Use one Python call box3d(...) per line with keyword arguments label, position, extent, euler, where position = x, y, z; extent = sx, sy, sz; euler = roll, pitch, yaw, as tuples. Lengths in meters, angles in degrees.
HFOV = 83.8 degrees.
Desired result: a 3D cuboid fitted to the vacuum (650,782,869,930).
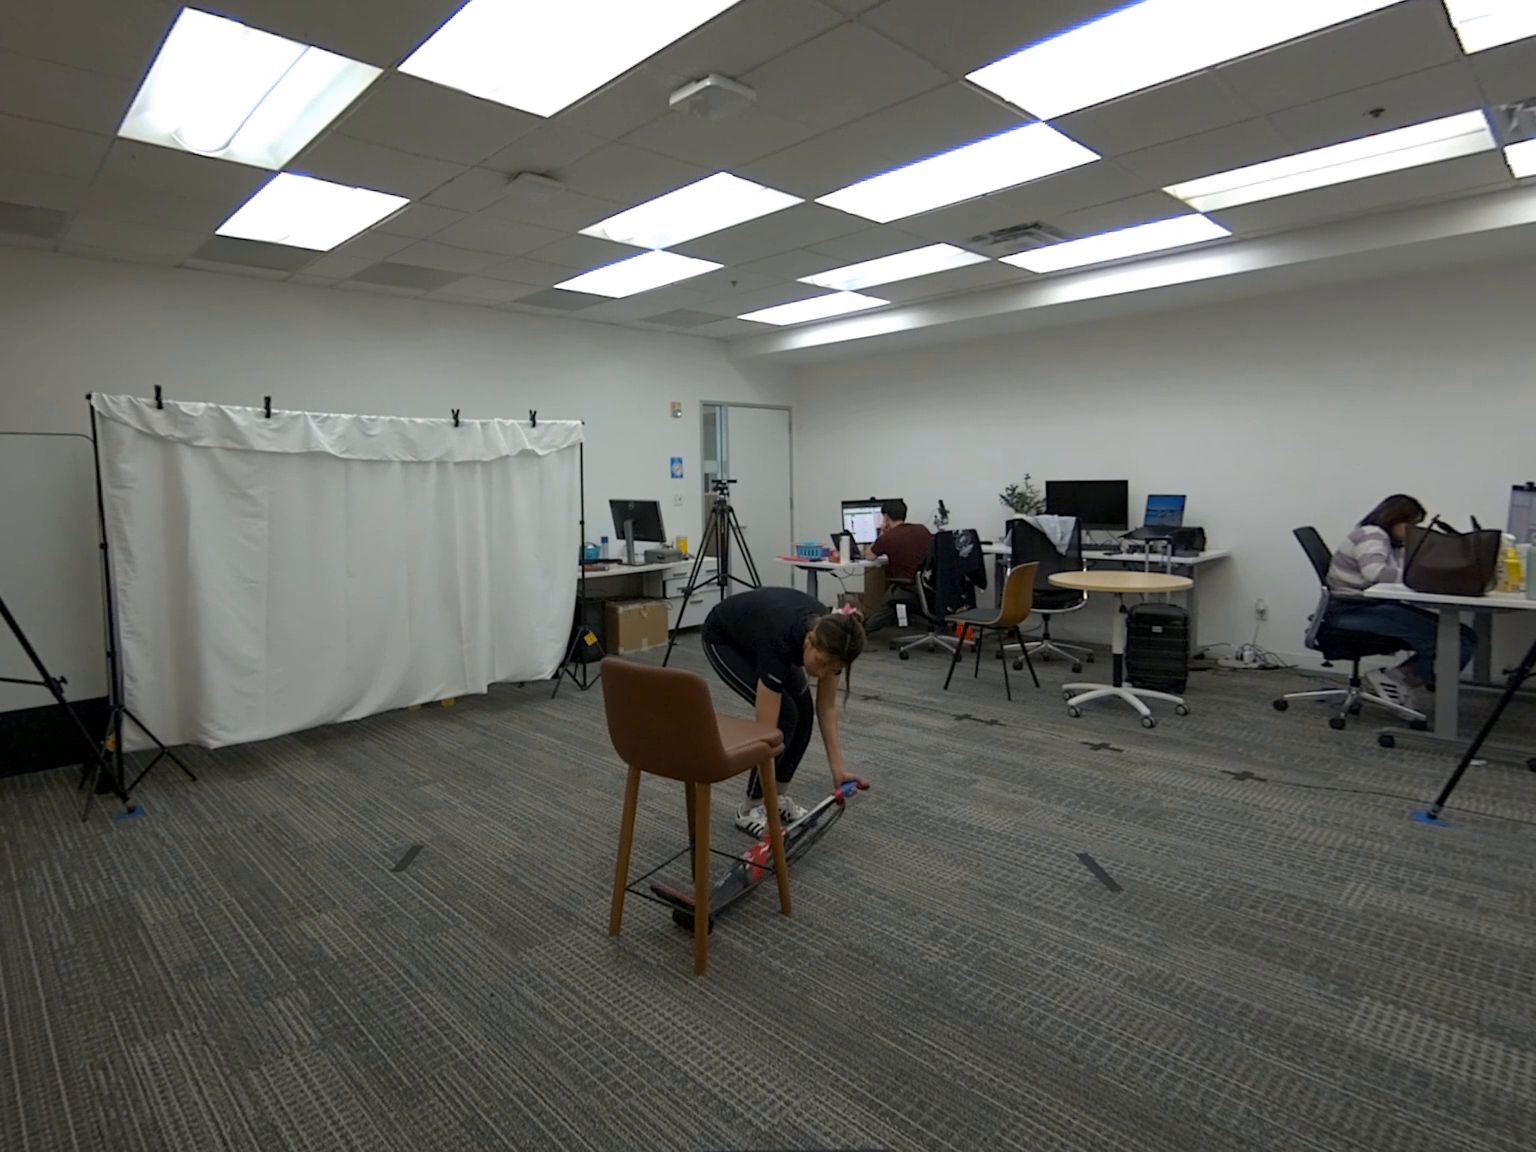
box3d(label="vacuum", position=(0.073, 0.953, 3.025), extent=(0.259, 0.143, 1.027), euler=(-4, 9, 40))
